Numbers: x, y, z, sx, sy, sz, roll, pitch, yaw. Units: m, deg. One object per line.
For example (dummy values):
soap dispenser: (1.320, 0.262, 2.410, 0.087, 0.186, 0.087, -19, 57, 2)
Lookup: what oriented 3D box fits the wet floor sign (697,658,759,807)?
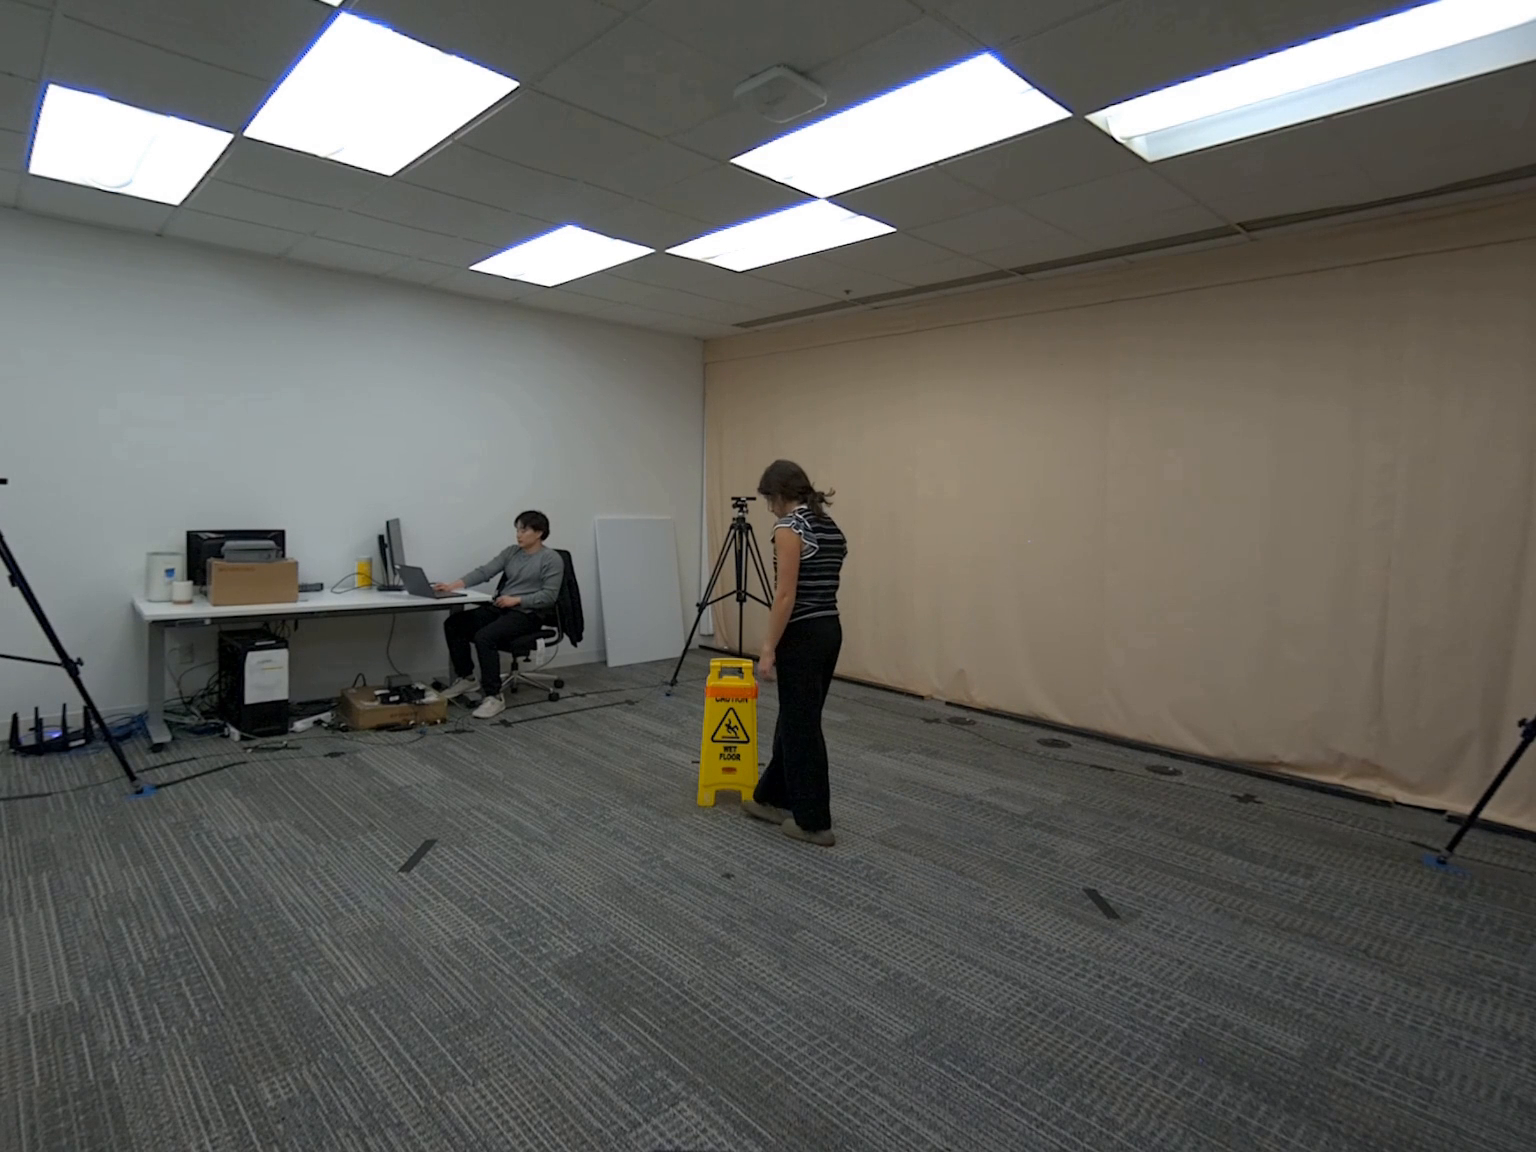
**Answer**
wet floor sign: (-0.187, 0.709, 3.927, 0.281, 0.645, 0.291, 3, 3, -4)
